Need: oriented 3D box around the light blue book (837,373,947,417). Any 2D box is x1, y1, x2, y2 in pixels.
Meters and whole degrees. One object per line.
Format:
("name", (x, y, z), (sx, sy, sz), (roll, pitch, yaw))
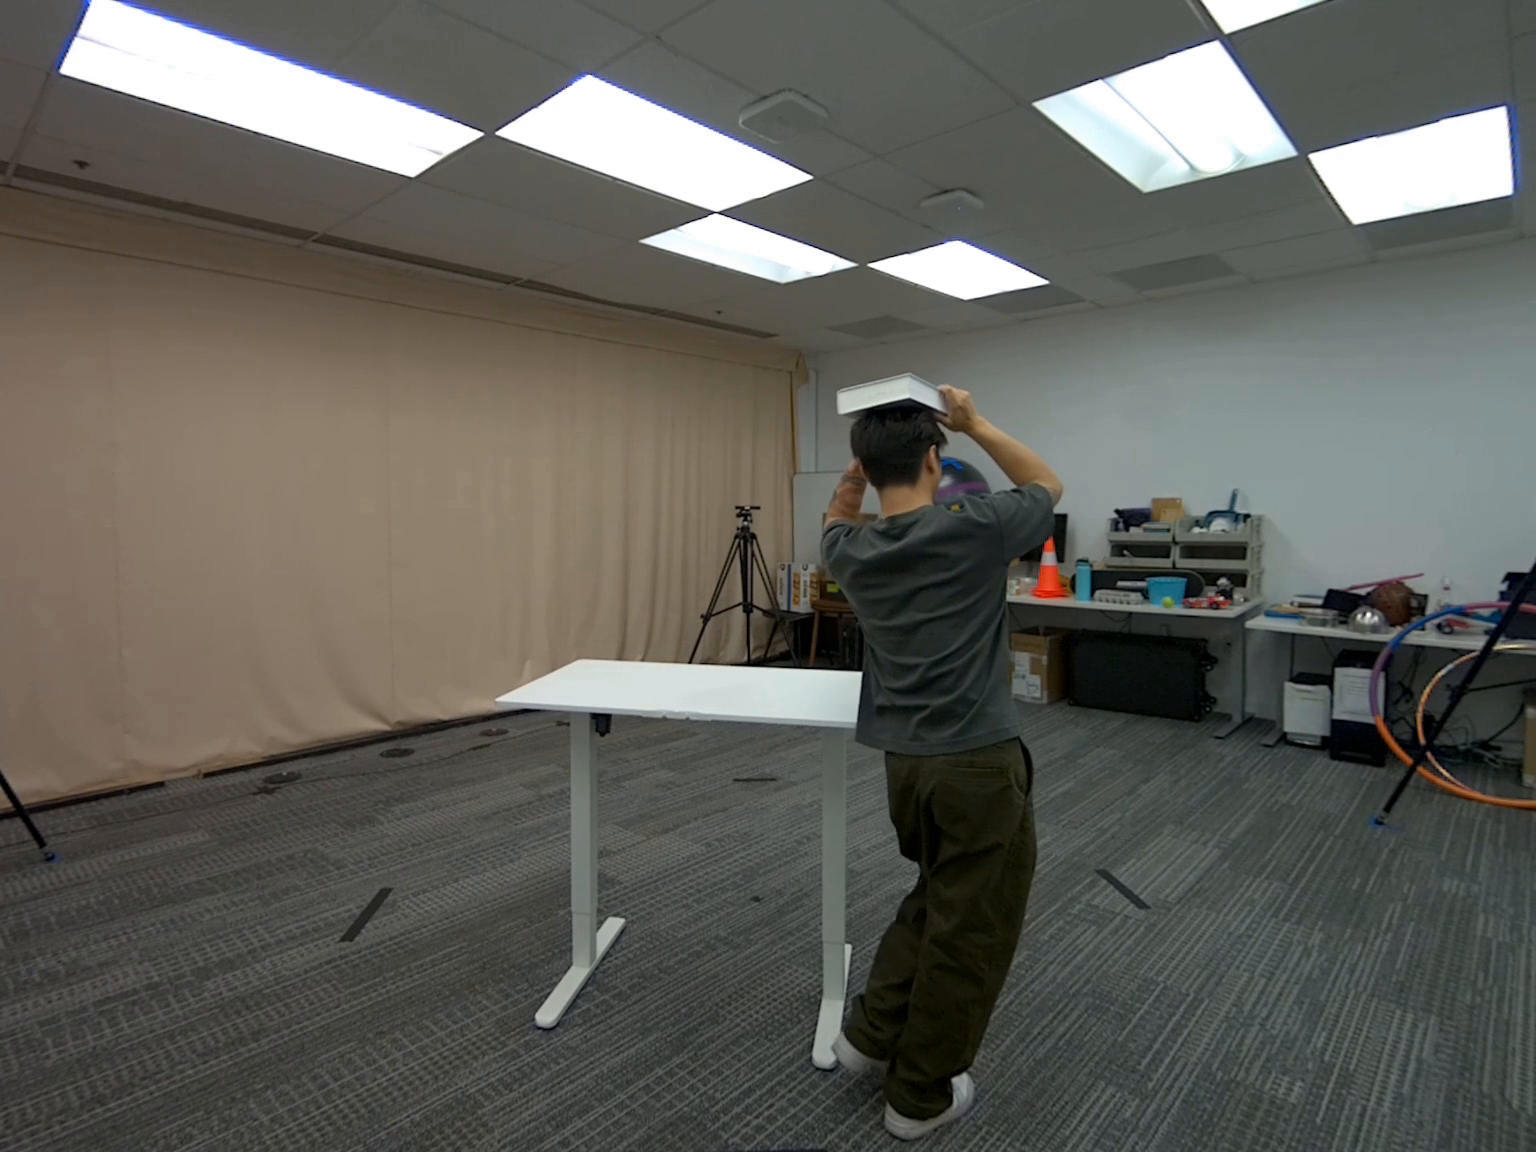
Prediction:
("light blue book", (0.318, -0.413, 2.022), (0.197, 0.059, 0.253), (-7, -6, 36))
